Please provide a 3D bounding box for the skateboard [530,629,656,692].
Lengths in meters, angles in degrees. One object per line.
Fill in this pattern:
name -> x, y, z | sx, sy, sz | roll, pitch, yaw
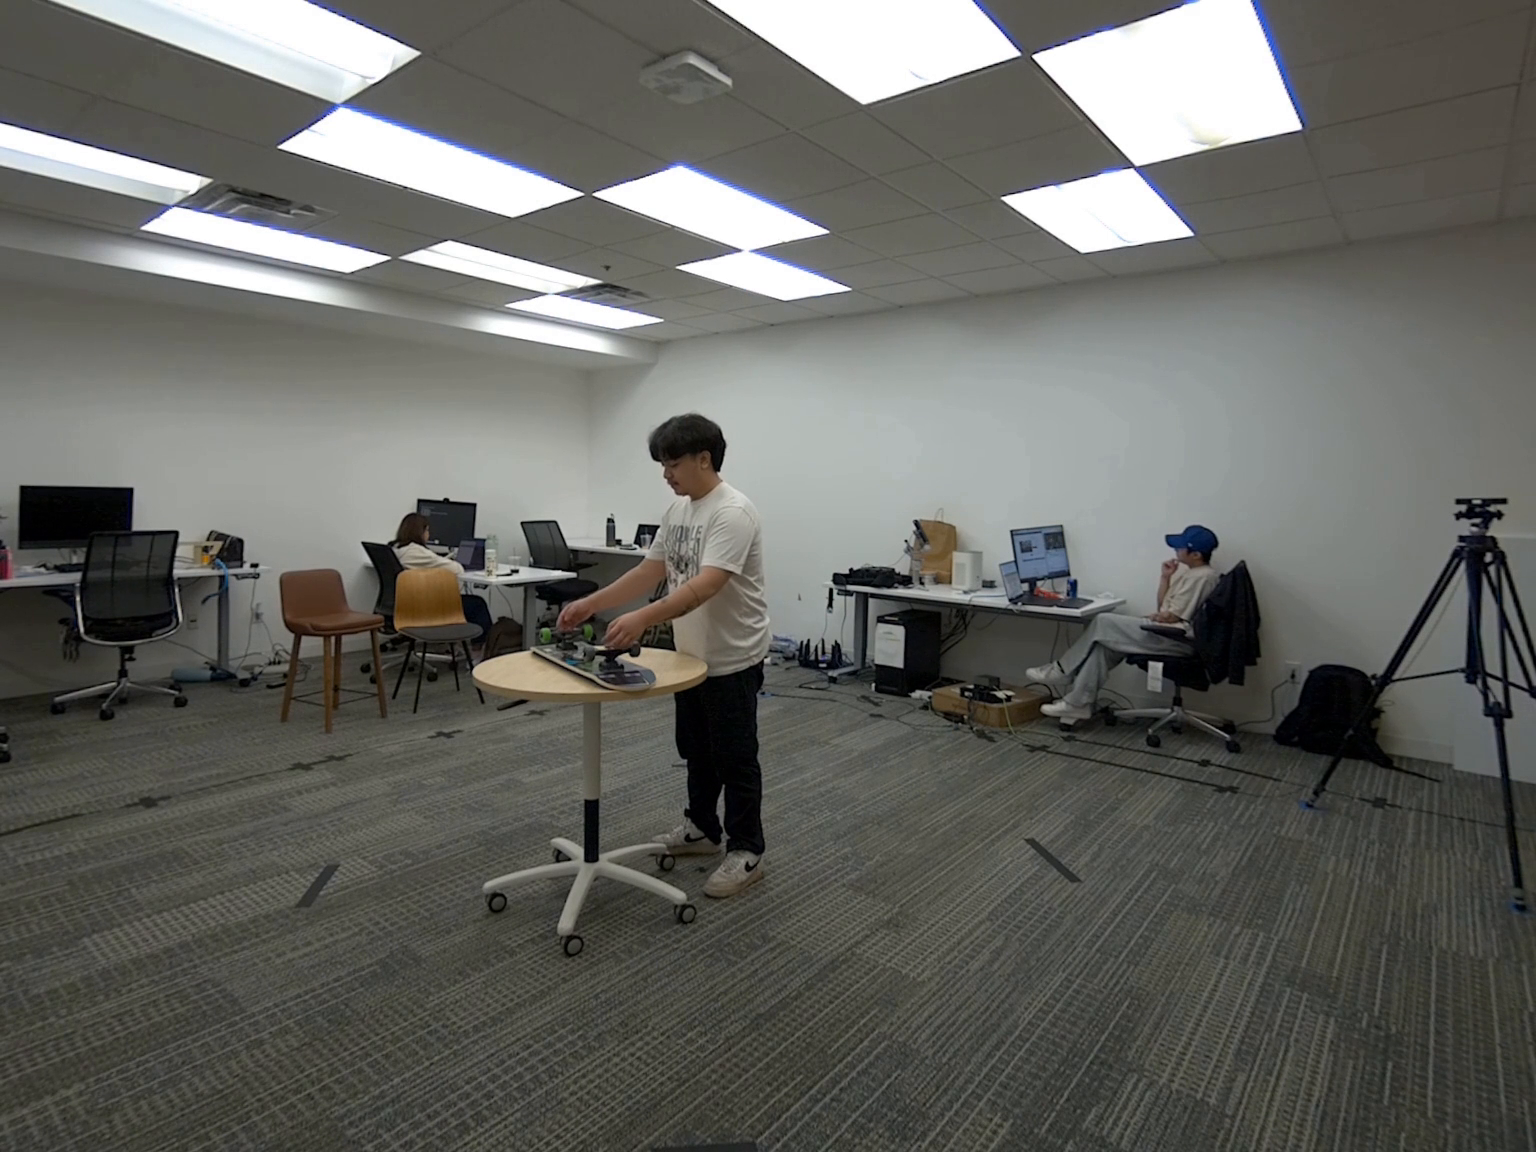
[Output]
skateboard -> -0.612, 0.250, 2.811 | 0.188, 0.110, 0.811 | -5, 8, -33
